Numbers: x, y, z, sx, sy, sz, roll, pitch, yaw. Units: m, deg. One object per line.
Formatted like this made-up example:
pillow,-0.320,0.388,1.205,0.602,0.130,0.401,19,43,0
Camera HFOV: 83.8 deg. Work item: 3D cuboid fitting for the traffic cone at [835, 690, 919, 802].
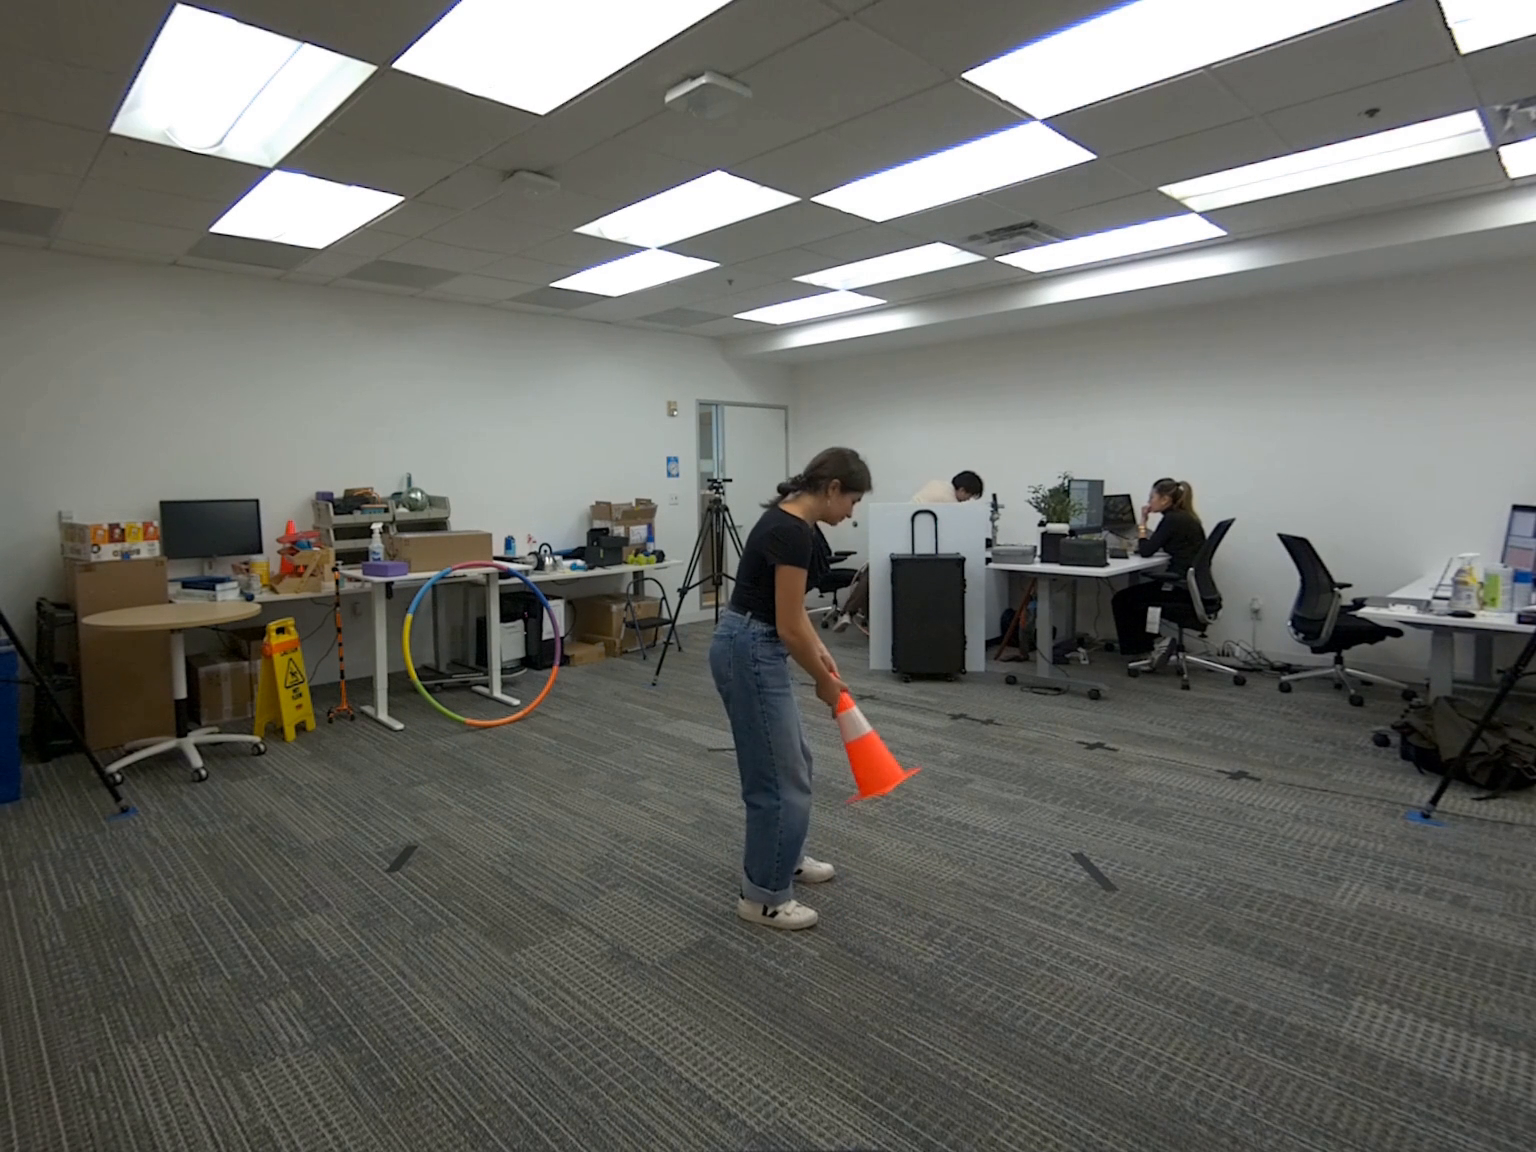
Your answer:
traffic cone,0.282,0.493,2.730,0.207,0.388,0.199,-32,-11,40
